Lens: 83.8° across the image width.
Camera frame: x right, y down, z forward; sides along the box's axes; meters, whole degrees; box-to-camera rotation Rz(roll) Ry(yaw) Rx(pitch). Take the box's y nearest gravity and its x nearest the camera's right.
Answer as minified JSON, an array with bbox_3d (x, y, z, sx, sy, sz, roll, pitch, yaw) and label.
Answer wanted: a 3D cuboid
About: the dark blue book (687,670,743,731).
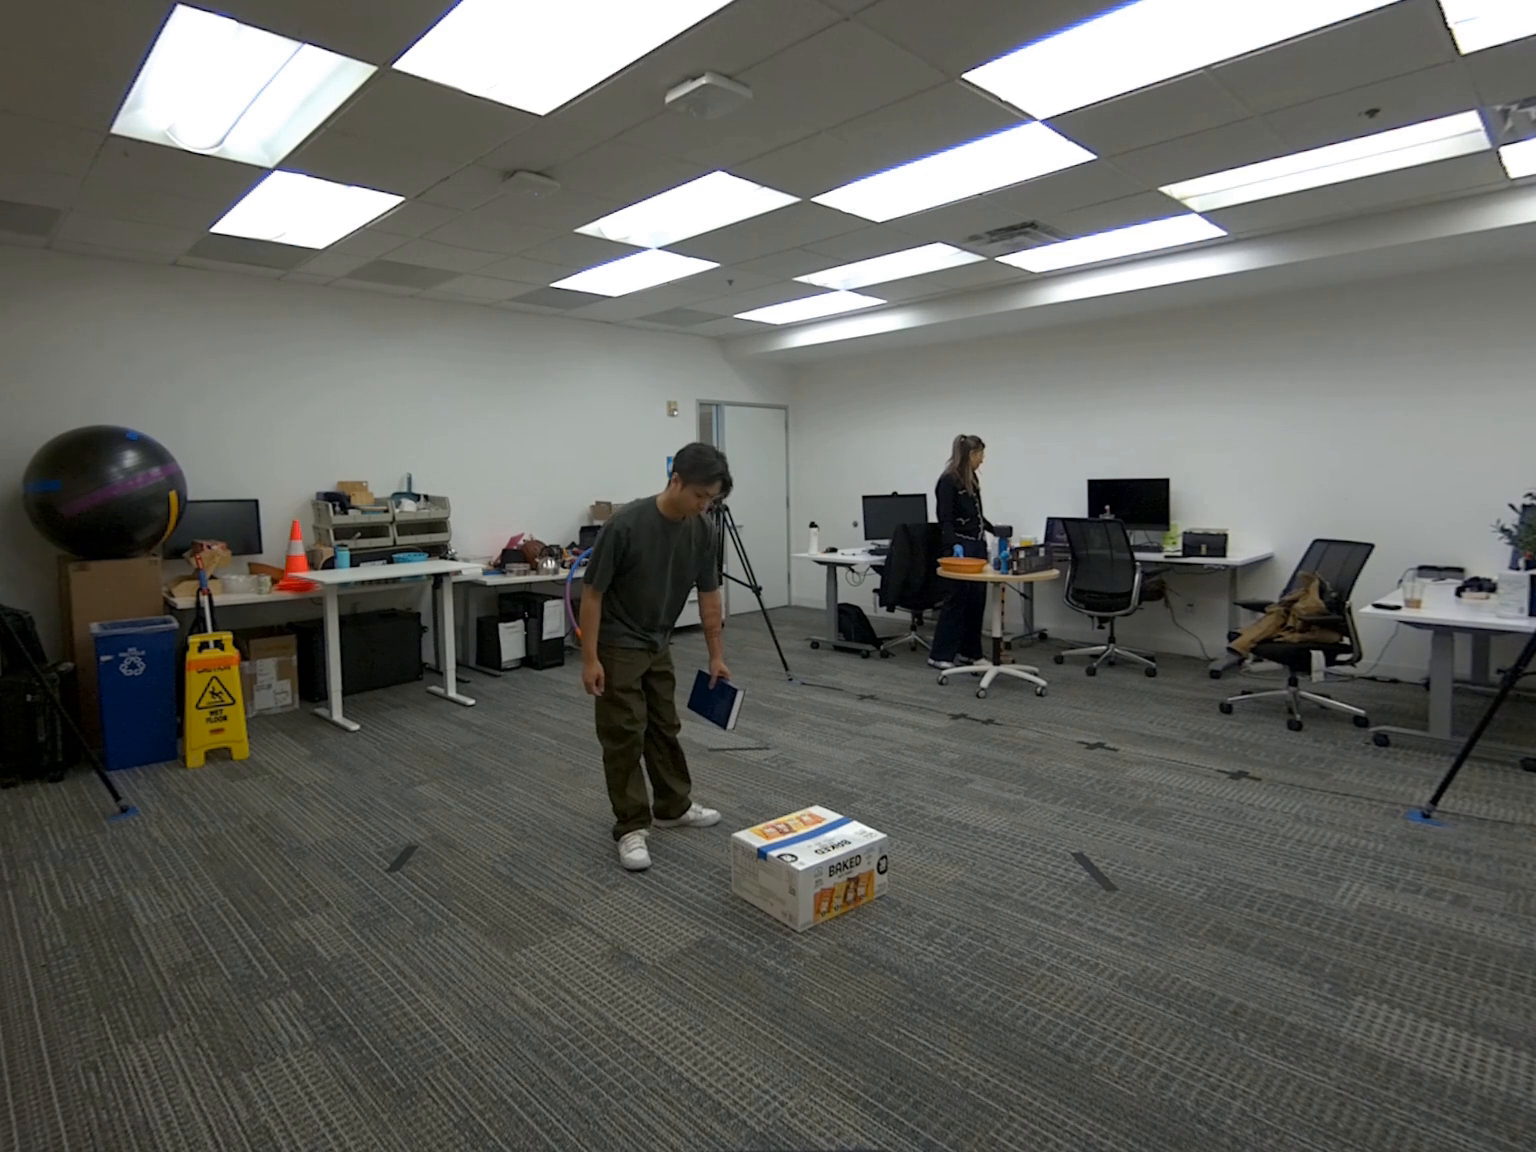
[{"bbox_3d":[-0.203,0.478,3.305,0.043,0.163,0.254,16,2,-44],"label":"dark blue book"}]
